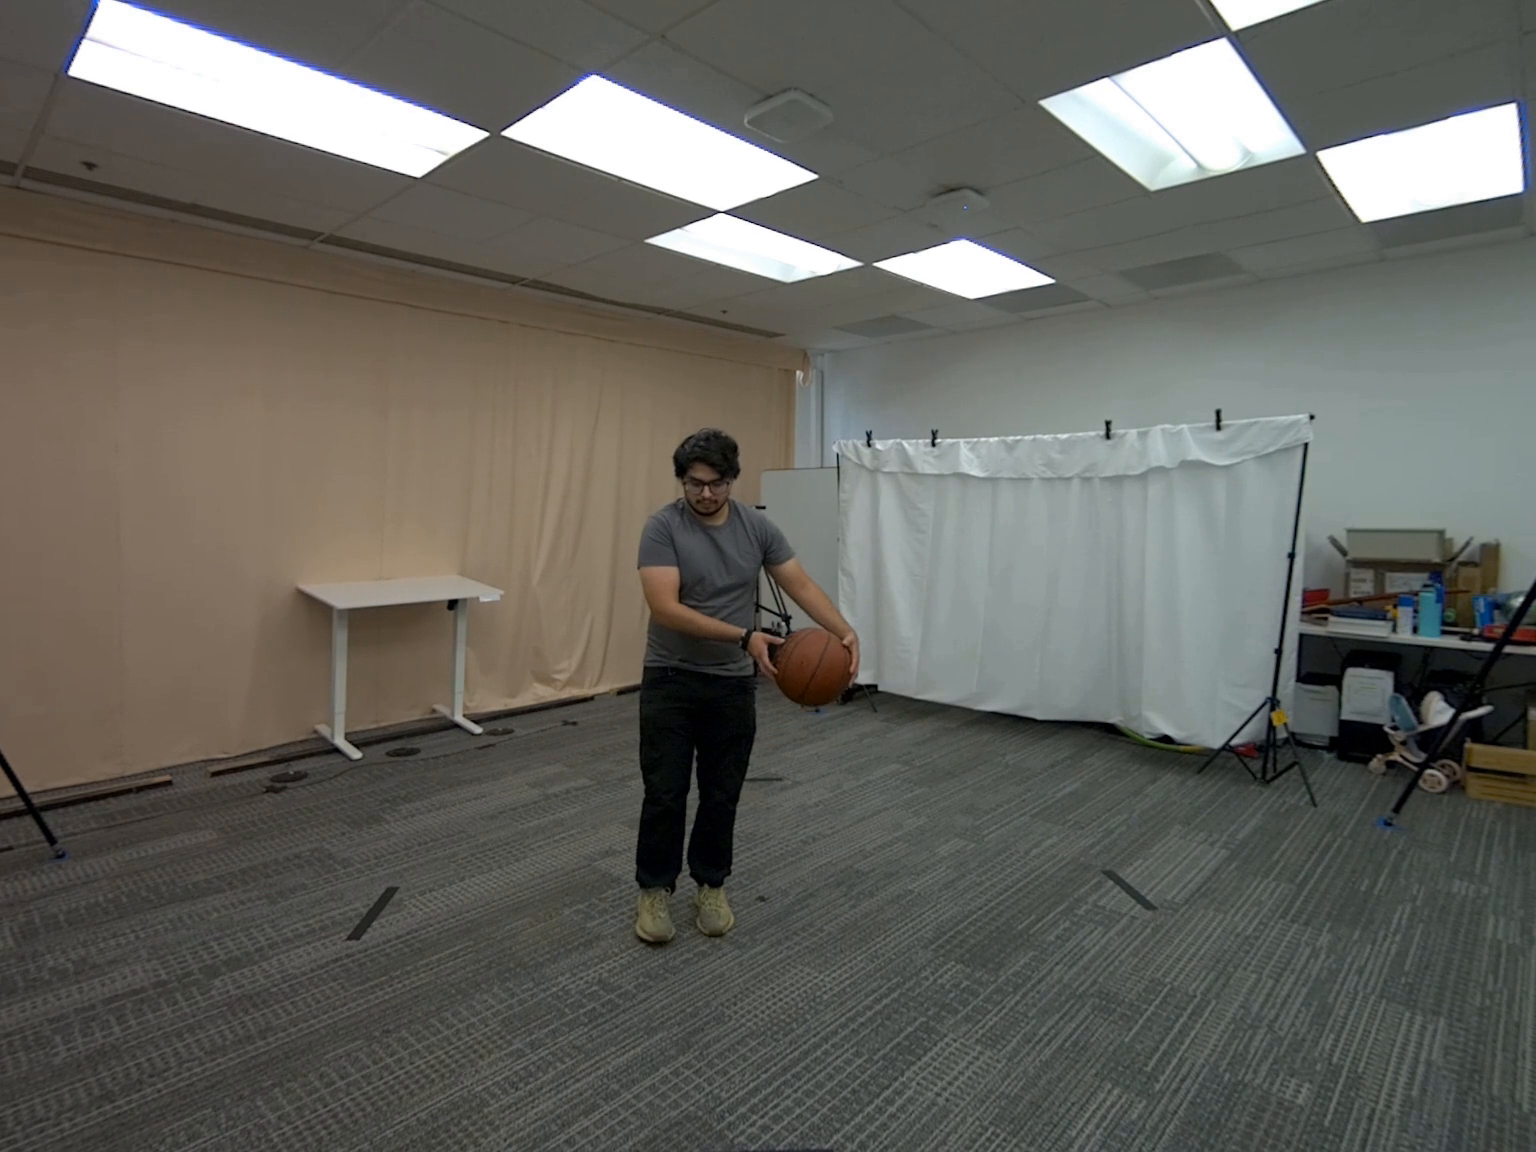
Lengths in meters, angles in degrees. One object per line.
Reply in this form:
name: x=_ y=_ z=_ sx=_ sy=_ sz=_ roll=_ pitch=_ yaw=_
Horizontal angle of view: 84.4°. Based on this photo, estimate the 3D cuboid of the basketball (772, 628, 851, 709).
basketball: x=0.132 y=0.277 z=2.559 sx=0.236 sy=0.235 sz=0.237 roll=0 pitch=4 yaw=-2
